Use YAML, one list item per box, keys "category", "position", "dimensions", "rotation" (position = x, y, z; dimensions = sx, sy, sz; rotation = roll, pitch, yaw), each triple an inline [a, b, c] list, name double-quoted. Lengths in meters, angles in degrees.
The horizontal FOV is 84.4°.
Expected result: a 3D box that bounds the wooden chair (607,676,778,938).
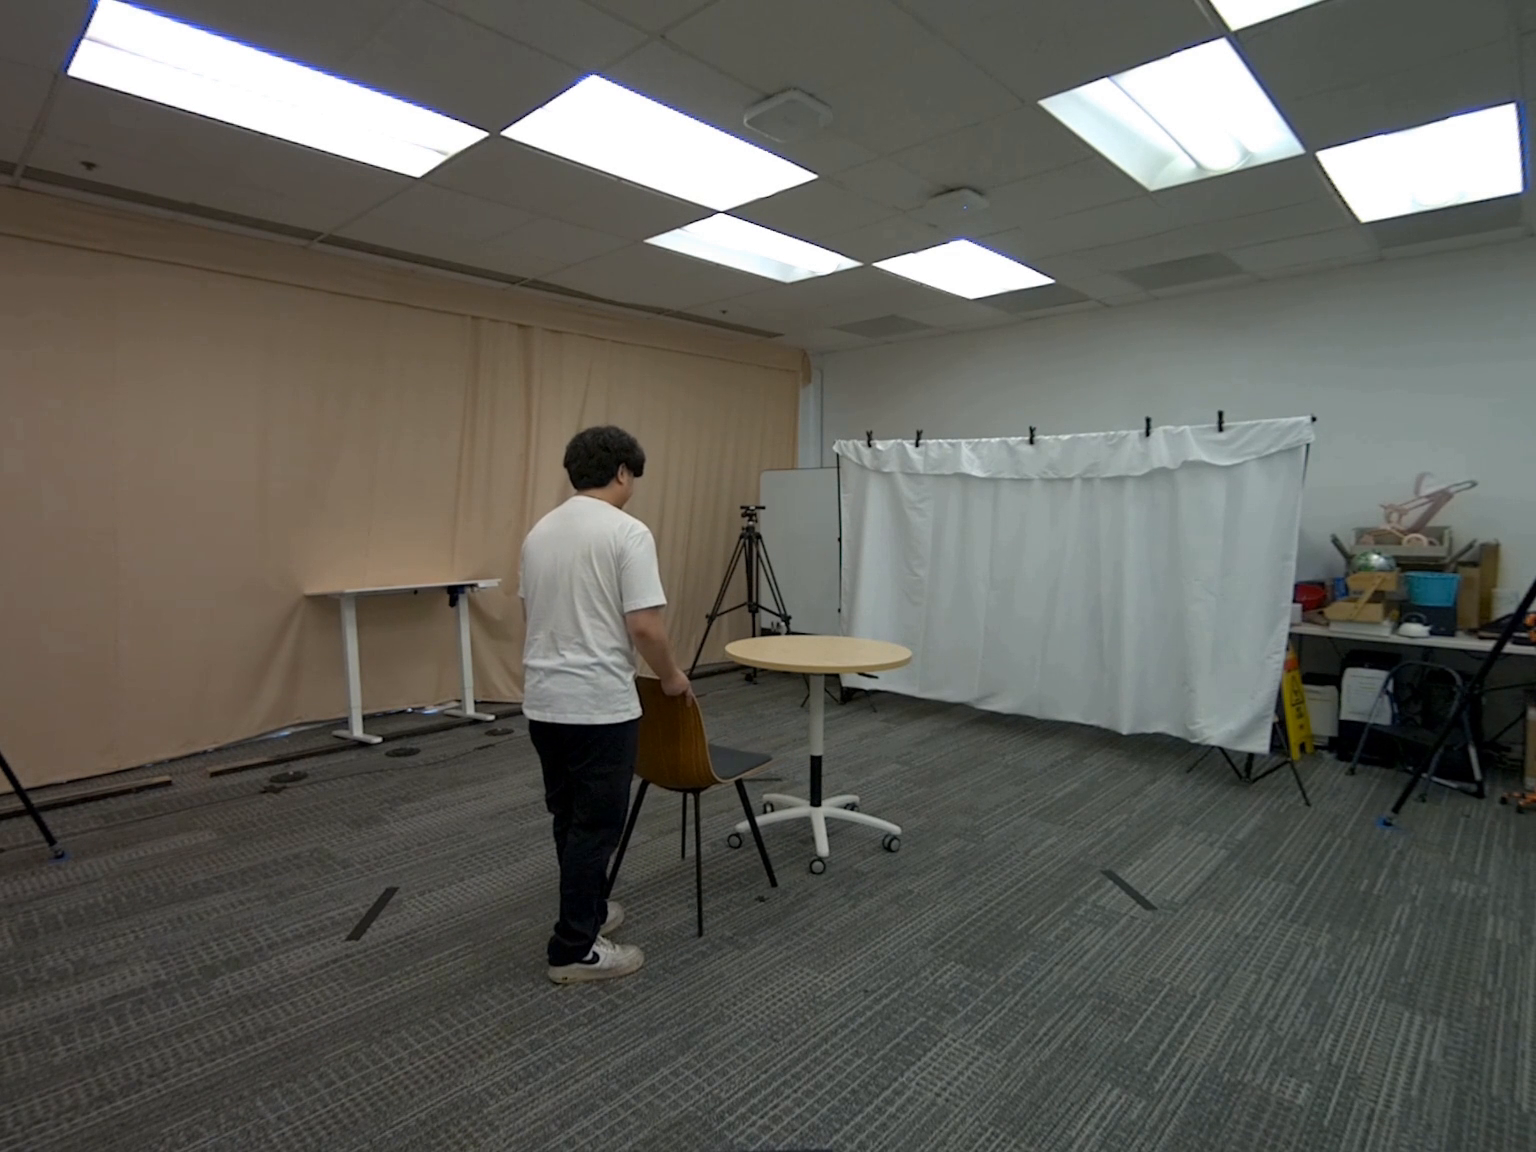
- category: "wooden chair"
  position: [-0.272, 0.715, 3.008]
  dimensions: [0.493, 0.873, 0.509]
  rotation: [1, 8, 36]
